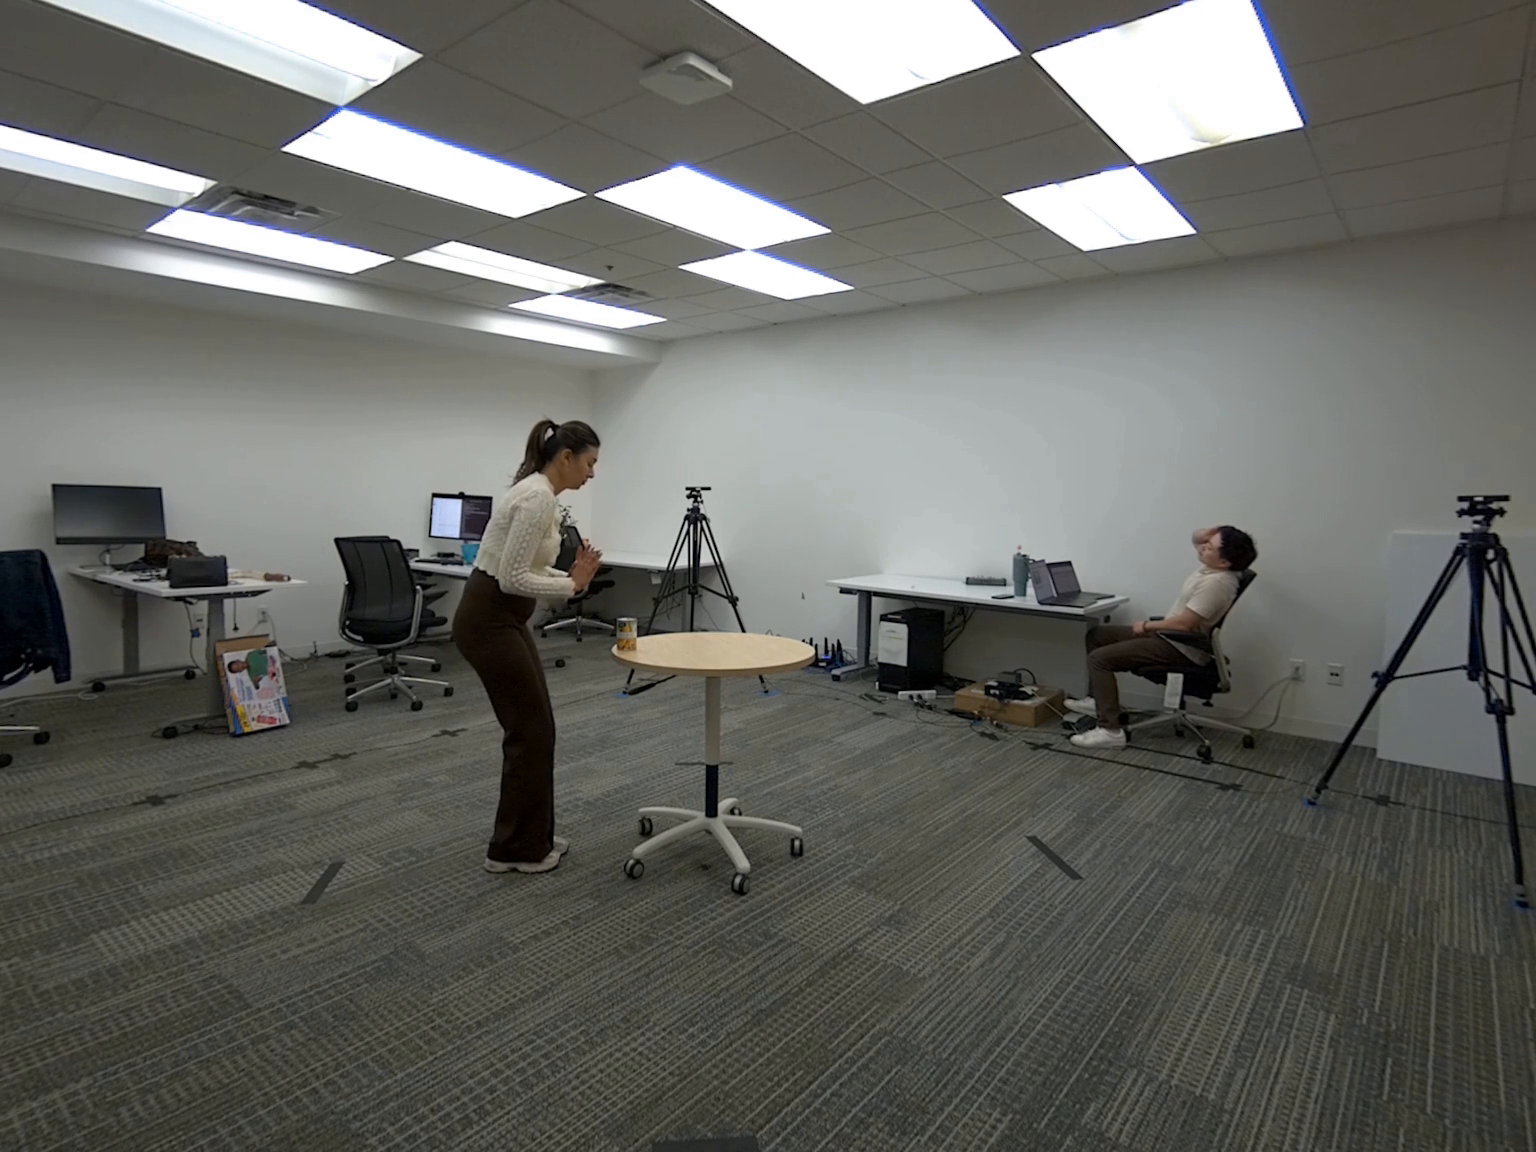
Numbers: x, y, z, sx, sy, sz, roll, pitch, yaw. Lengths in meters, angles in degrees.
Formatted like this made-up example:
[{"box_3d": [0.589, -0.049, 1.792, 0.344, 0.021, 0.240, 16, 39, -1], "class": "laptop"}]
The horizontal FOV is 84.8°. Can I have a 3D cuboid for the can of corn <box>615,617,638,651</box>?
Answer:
[{"box_3d": [-0.543, 0.222, 3.176, 0.074, 0.111, 0.074, -3, 2, -2], "class": "can of corn"}]
